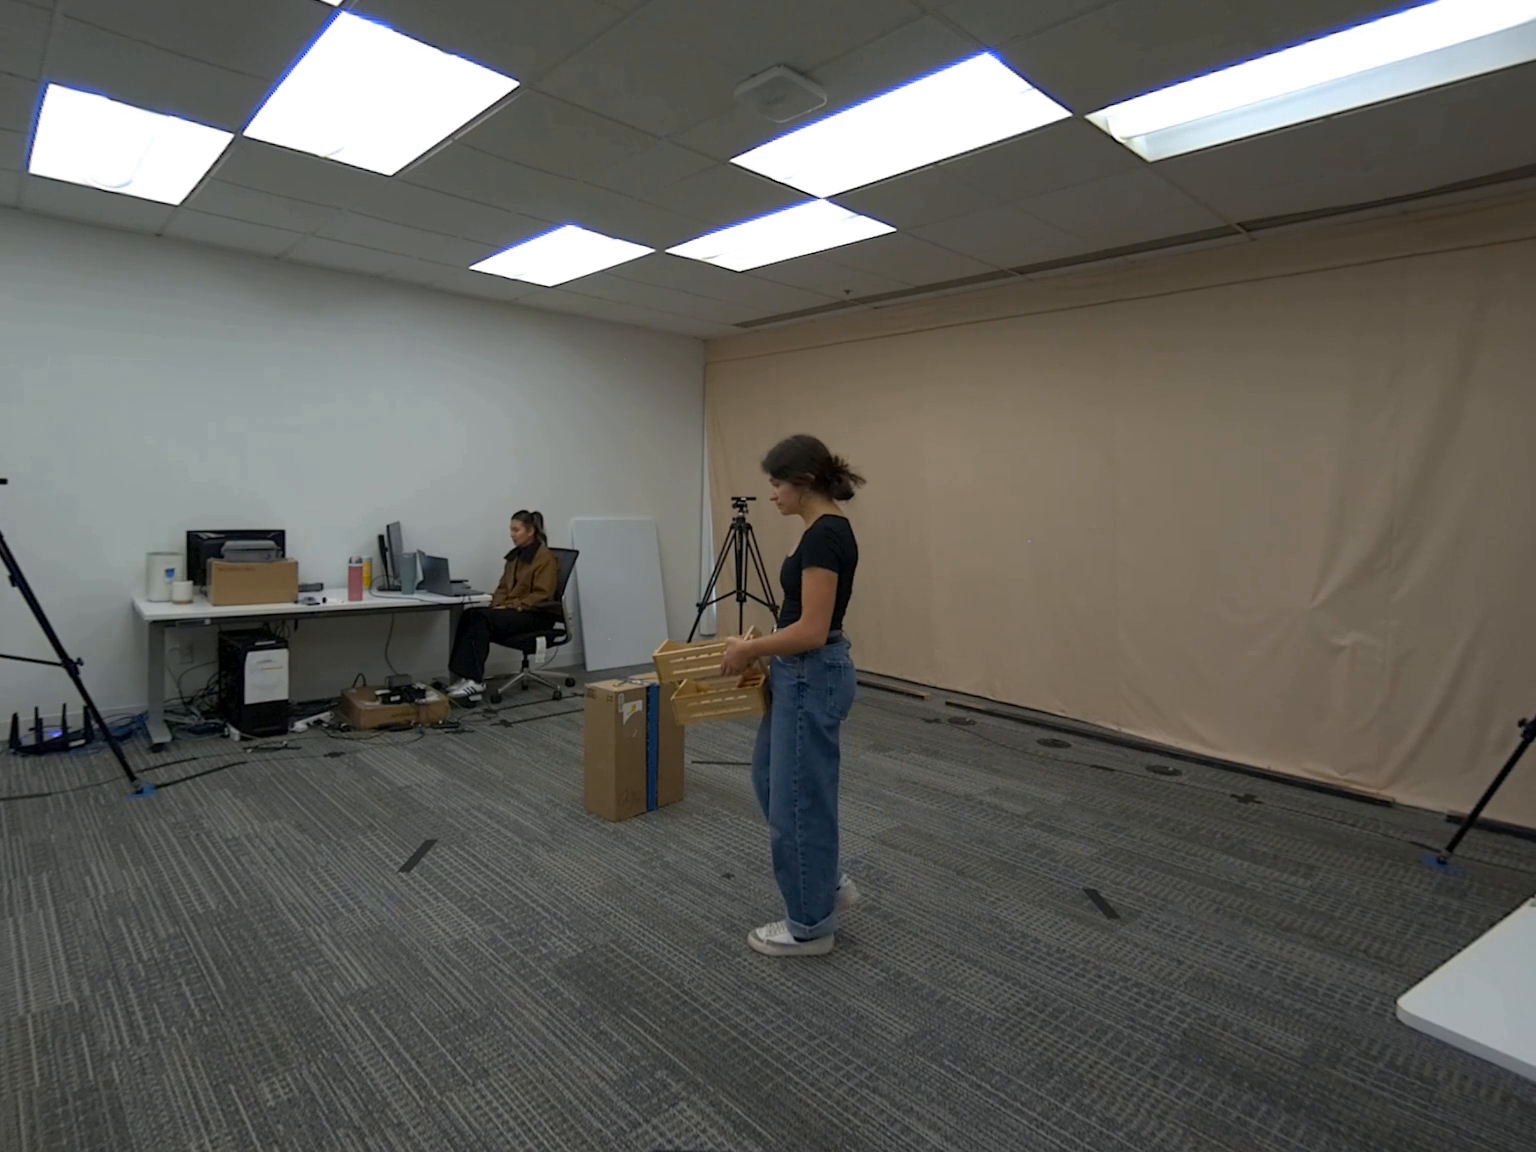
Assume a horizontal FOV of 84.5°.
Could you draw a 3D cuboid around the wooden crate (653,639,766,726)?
[{"bbox_3d":[-0.192,0.315,2.774,0.325,0.272,0.303,-10,6,4],"label":"wooden crate"}]
